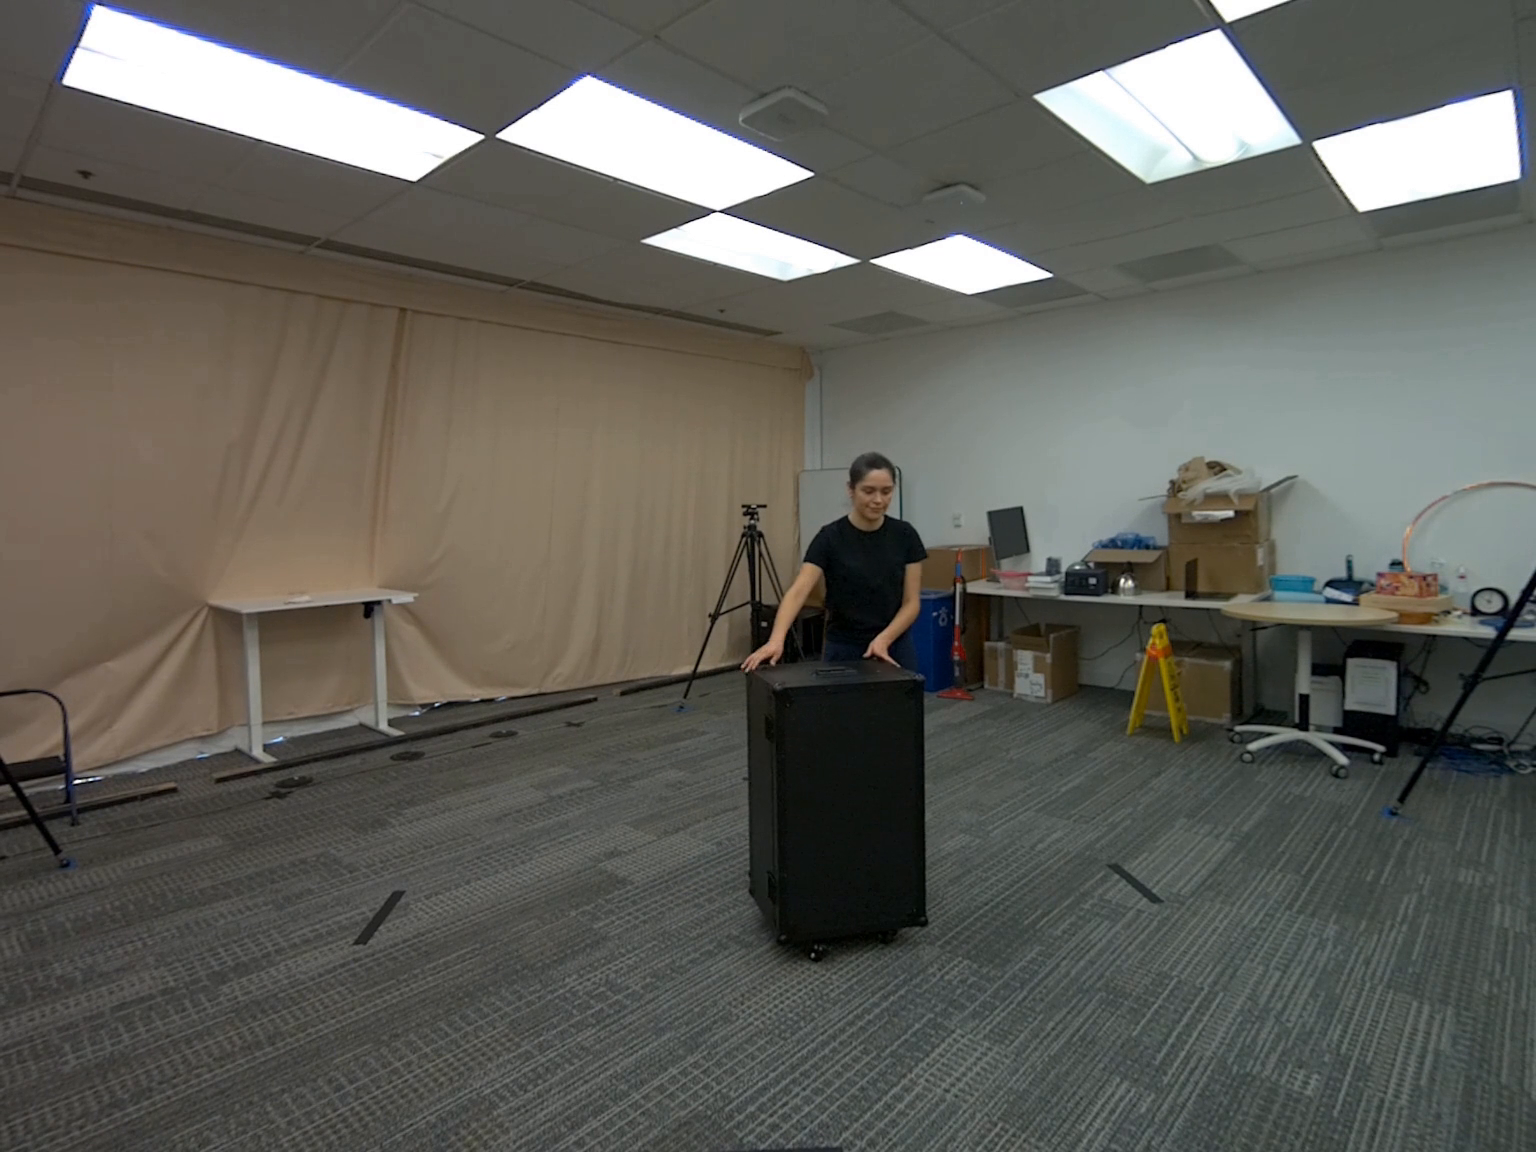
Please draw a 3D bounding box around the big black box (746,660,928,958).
[{"bbox_3d":[0.213,0.734,2.739,0.514,0.860,0.402,-2,2,-14],"label":"big black box"}]
